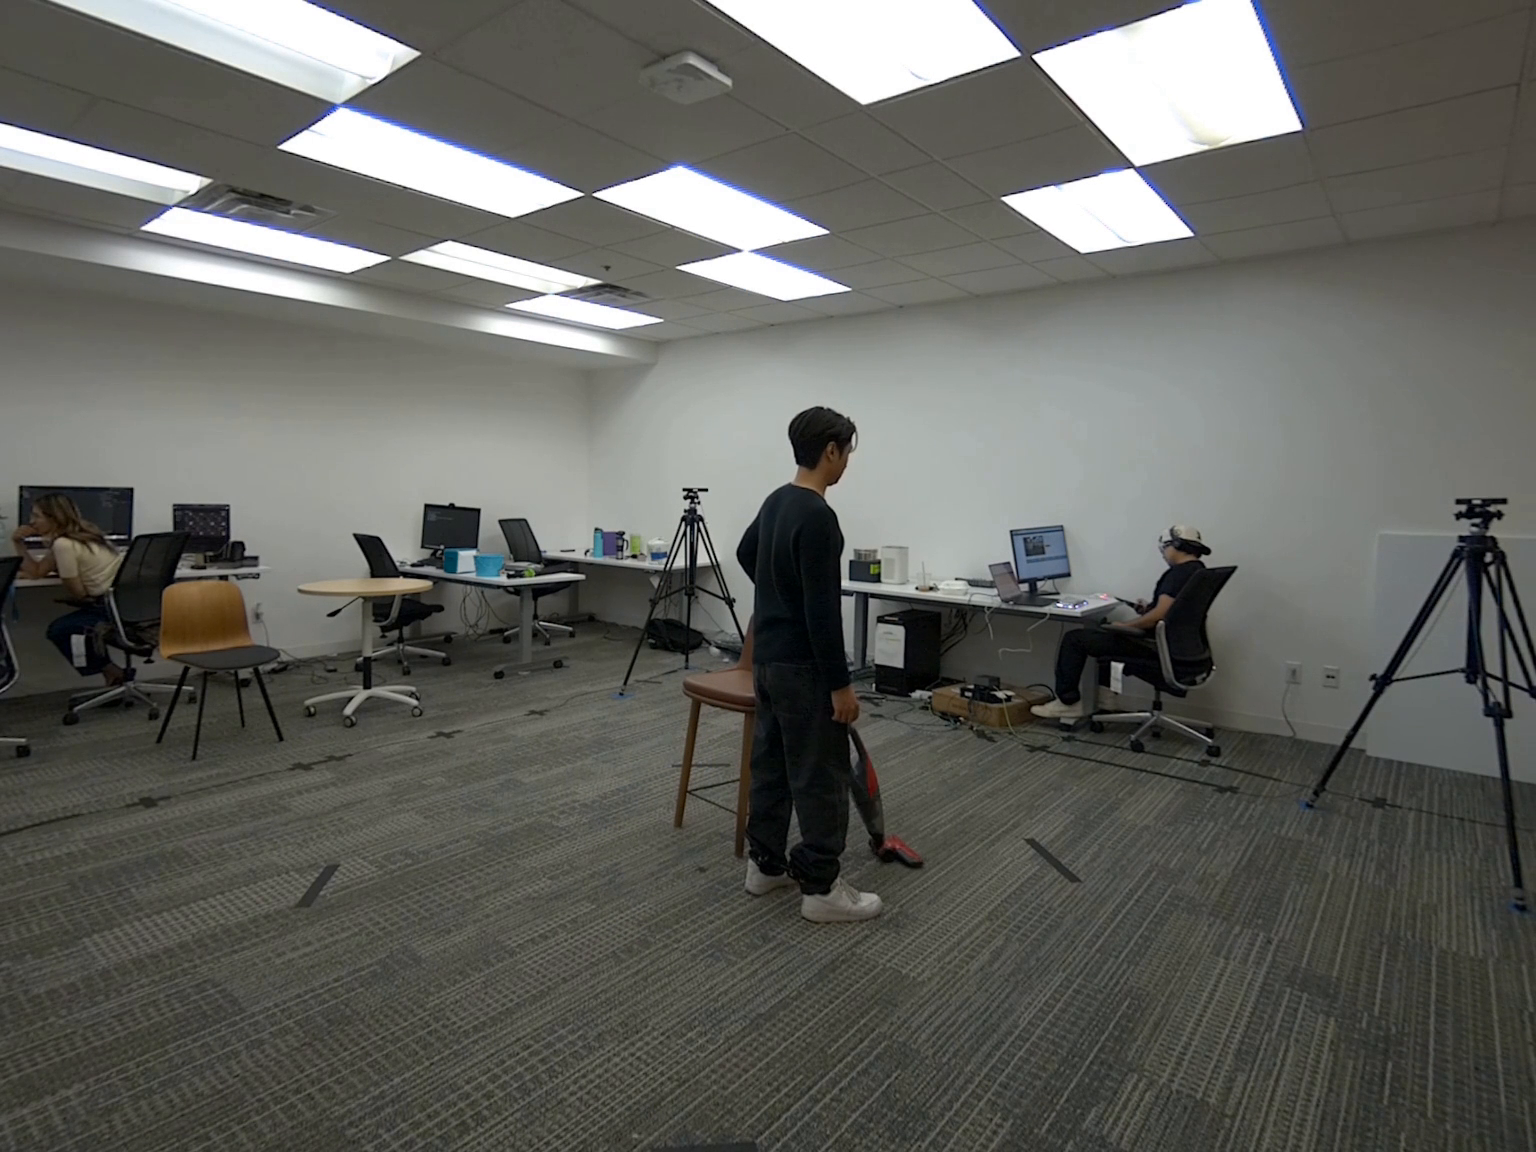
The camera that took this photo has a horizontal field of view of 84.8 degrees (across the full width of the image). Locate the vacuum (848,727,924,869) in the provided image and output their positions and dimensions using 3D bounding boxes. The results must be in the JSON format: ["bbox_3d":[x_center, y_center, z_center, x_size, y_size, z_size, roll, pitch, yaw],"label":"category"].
[{"bbox_3d":[0.283,0.591,3.217,0.143,1.042,0.256,-24,6,-13],"label":"vacuum"}]
